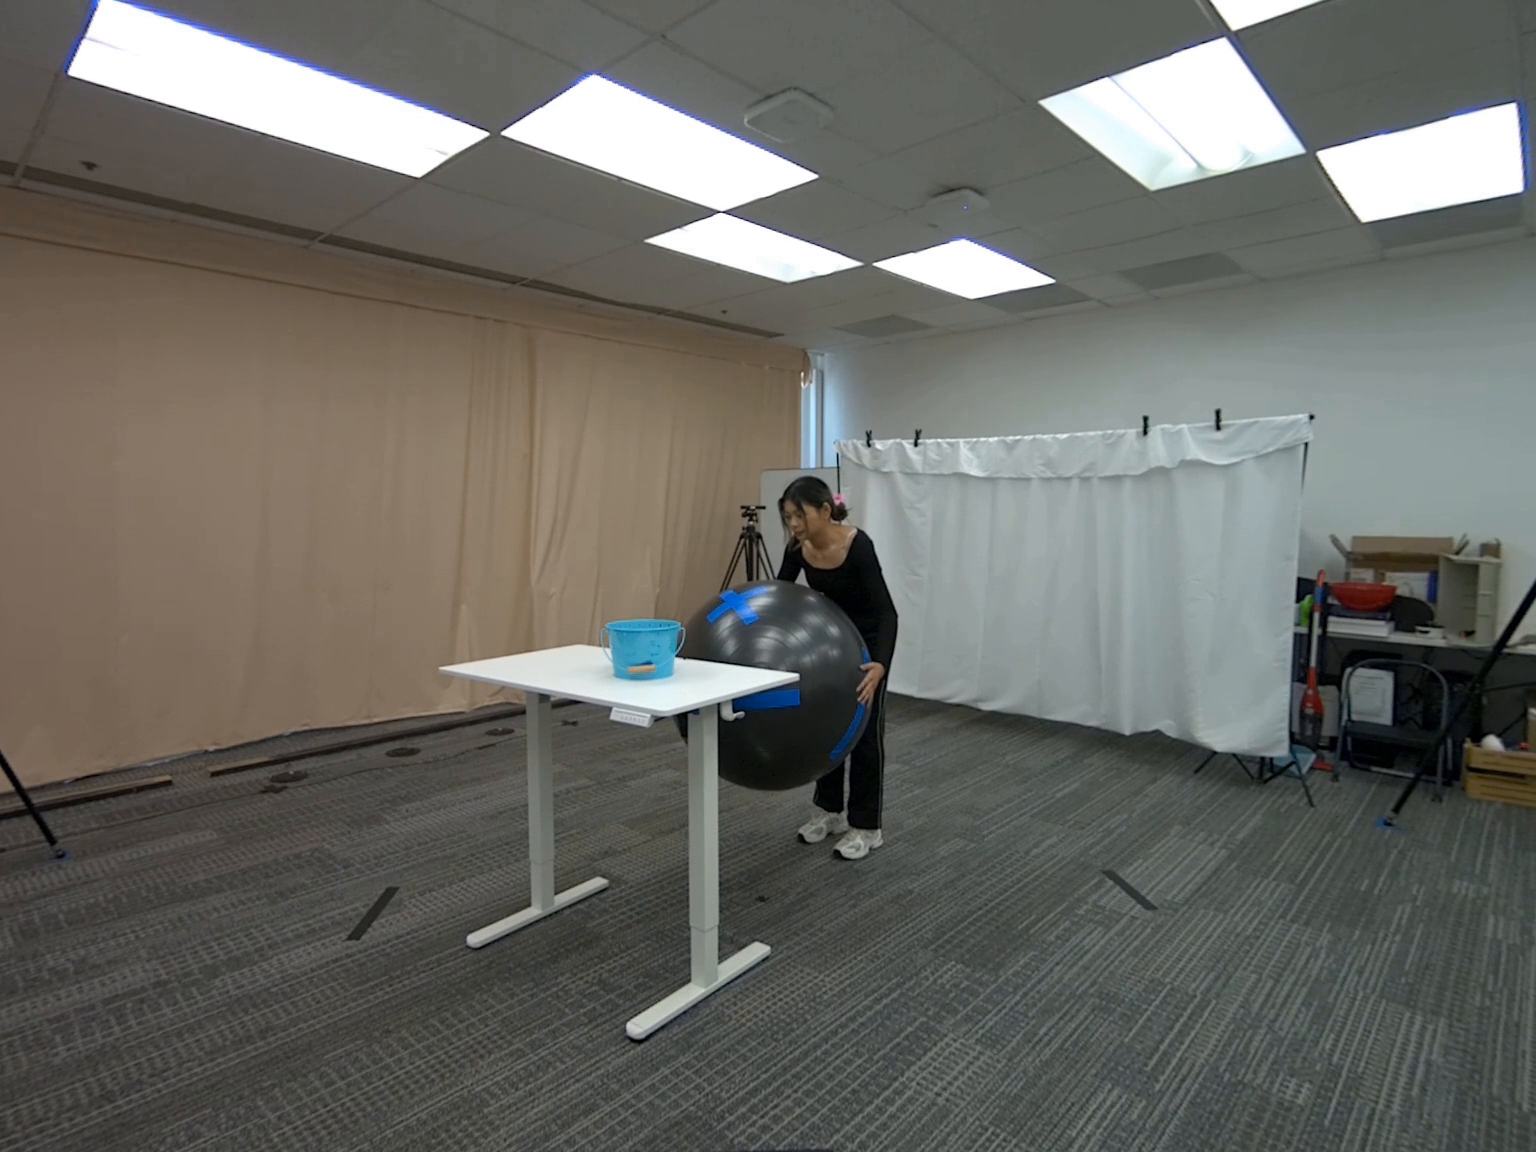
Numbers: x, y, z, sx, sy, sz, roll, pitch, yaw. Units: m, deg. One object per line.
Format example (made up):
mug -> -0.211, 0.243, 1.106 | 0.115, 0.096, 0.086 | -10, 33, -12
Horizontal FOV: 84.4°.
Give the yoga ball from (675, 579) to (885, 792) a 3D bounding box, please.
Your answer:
yoga ball -> 0.005, 0.401, 3.108 | 0.757, 0.756, 0.761 | 0, 4, -2
